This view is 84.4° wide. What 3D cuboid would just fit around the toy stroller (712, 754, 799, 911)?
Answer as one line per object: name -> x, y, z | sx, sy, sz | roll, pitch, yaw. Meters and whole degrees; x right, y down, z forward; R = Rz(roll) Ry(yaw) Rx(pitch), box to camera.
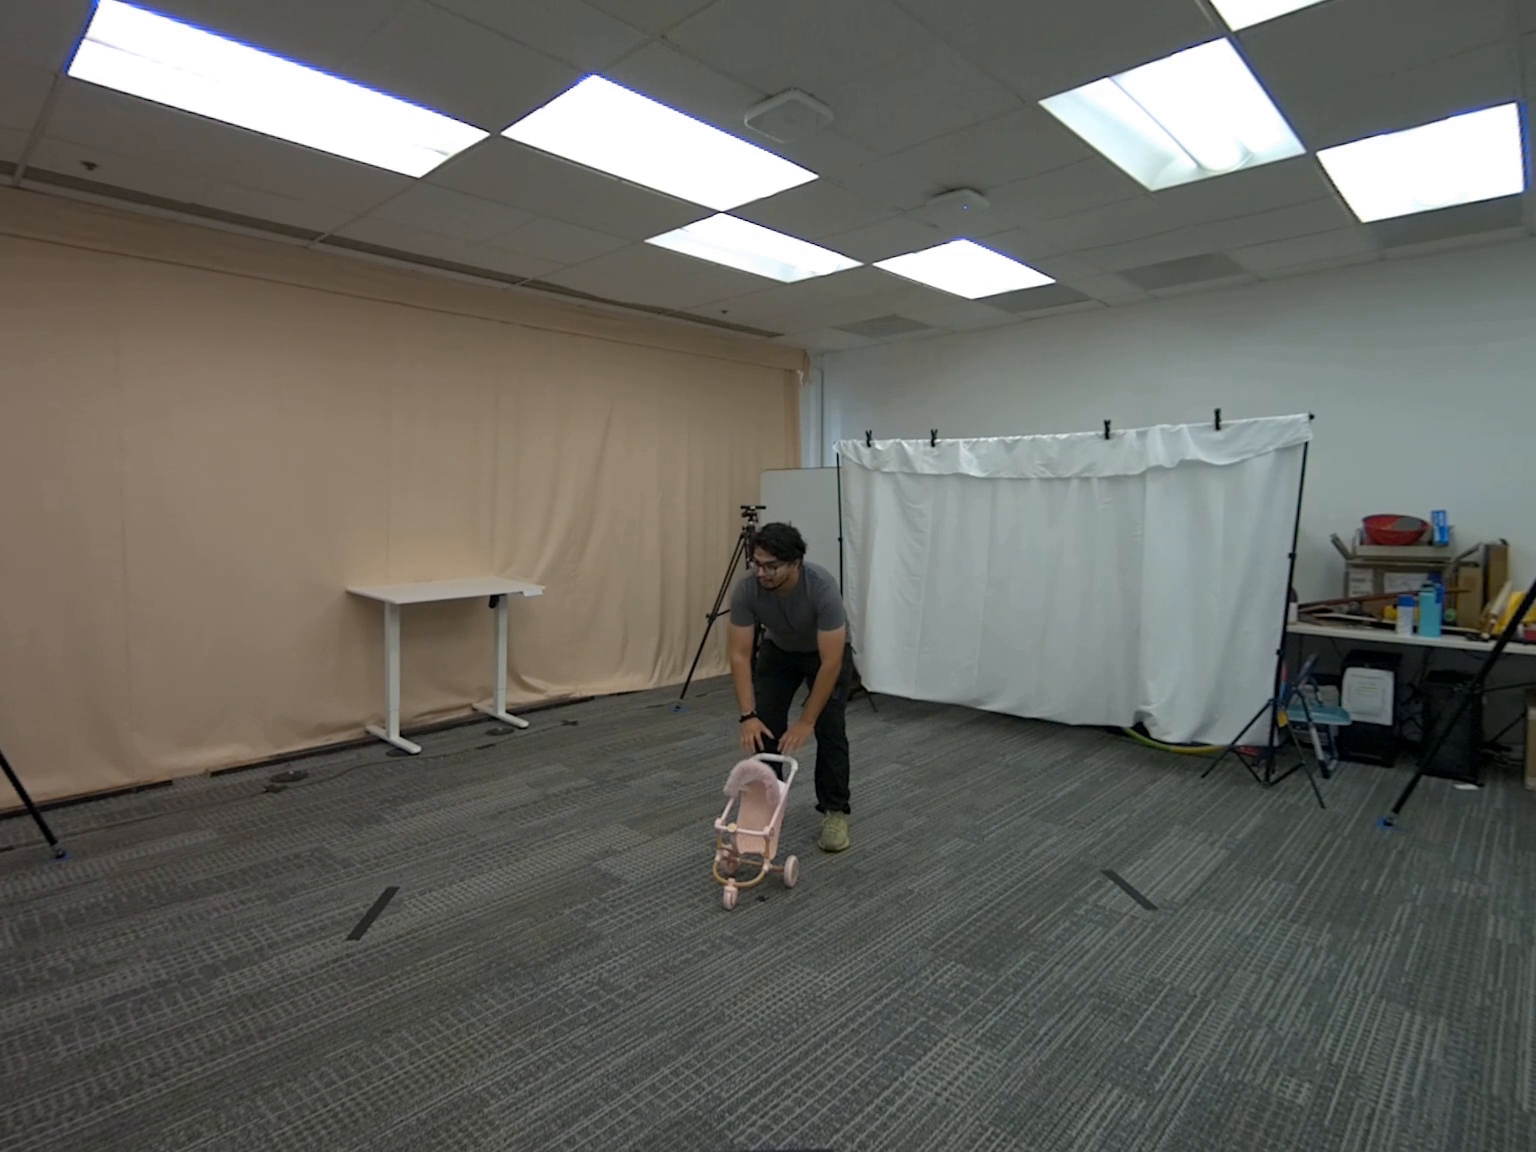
toy stroller -> -0.059, 0.915, 3.069 | 0.289, 0.538, 0.330 | 1, -13, 29
